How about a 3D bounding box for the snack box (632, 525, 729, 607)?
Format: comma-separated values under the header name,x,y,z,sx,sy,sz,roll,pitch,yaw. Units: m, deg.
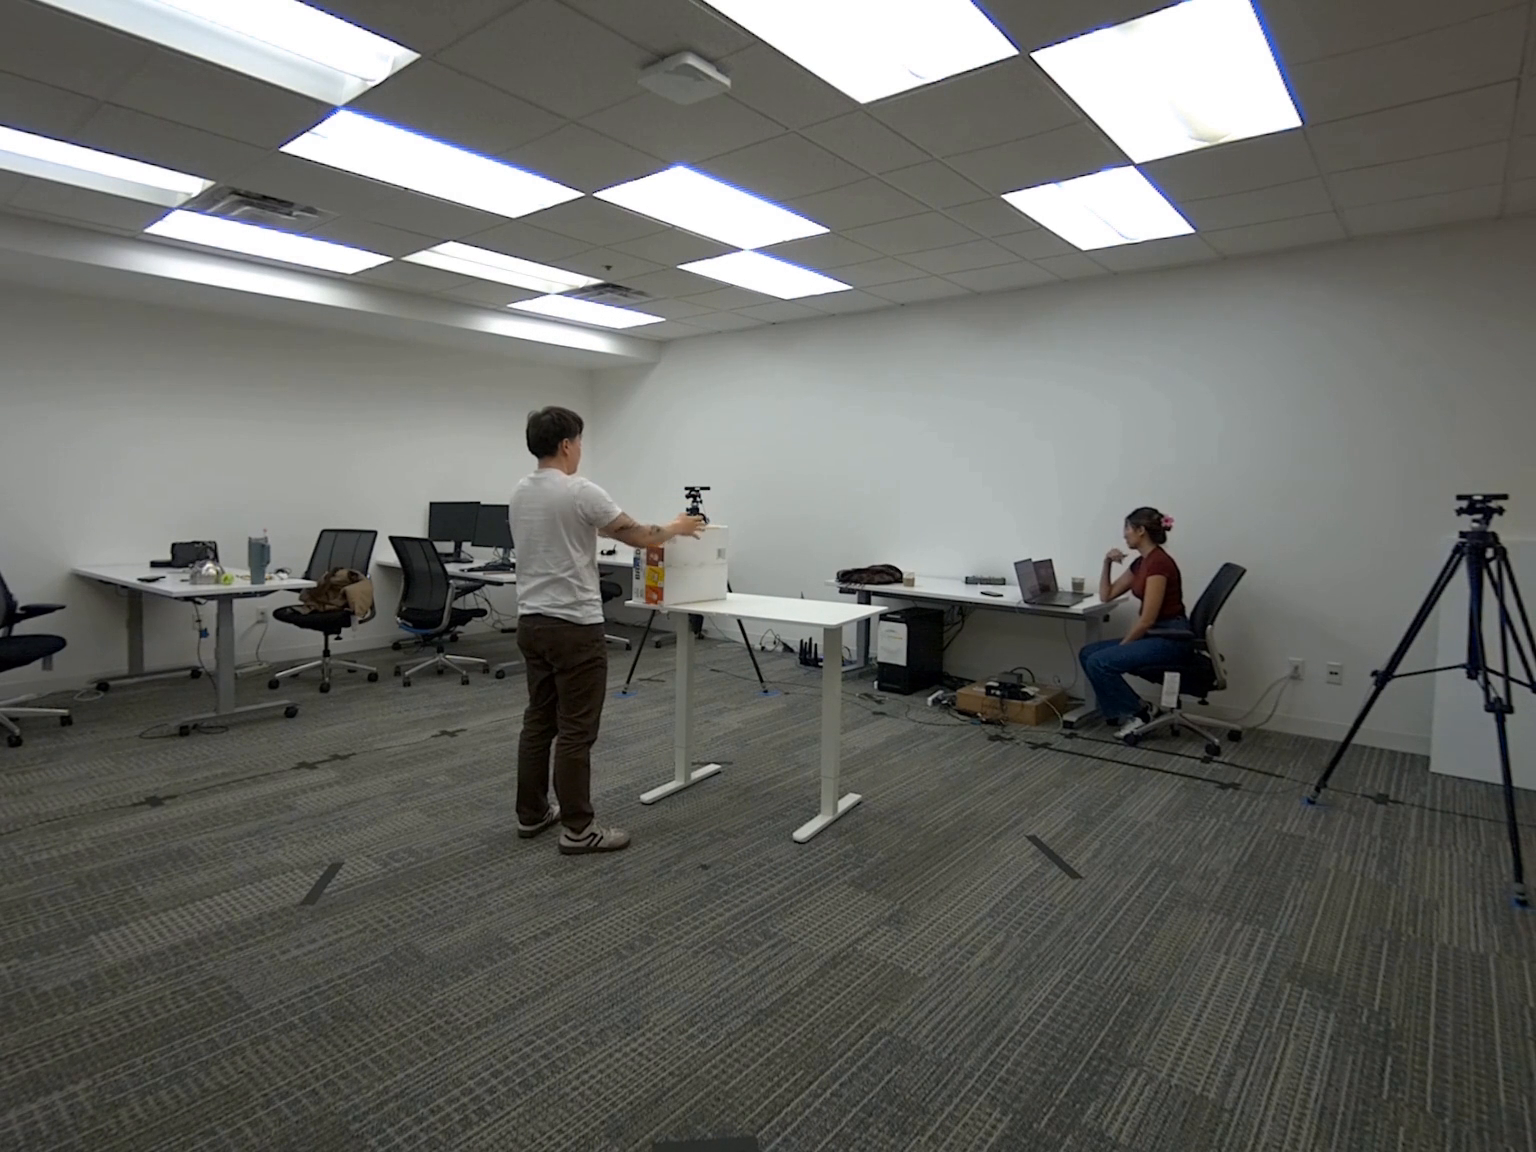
name,x,y,z,sx,sy,sz,roll,pitch,yaw
snack box,-0.401,-0.061,3.836,0.213,0.339,0.393,6,7,43
